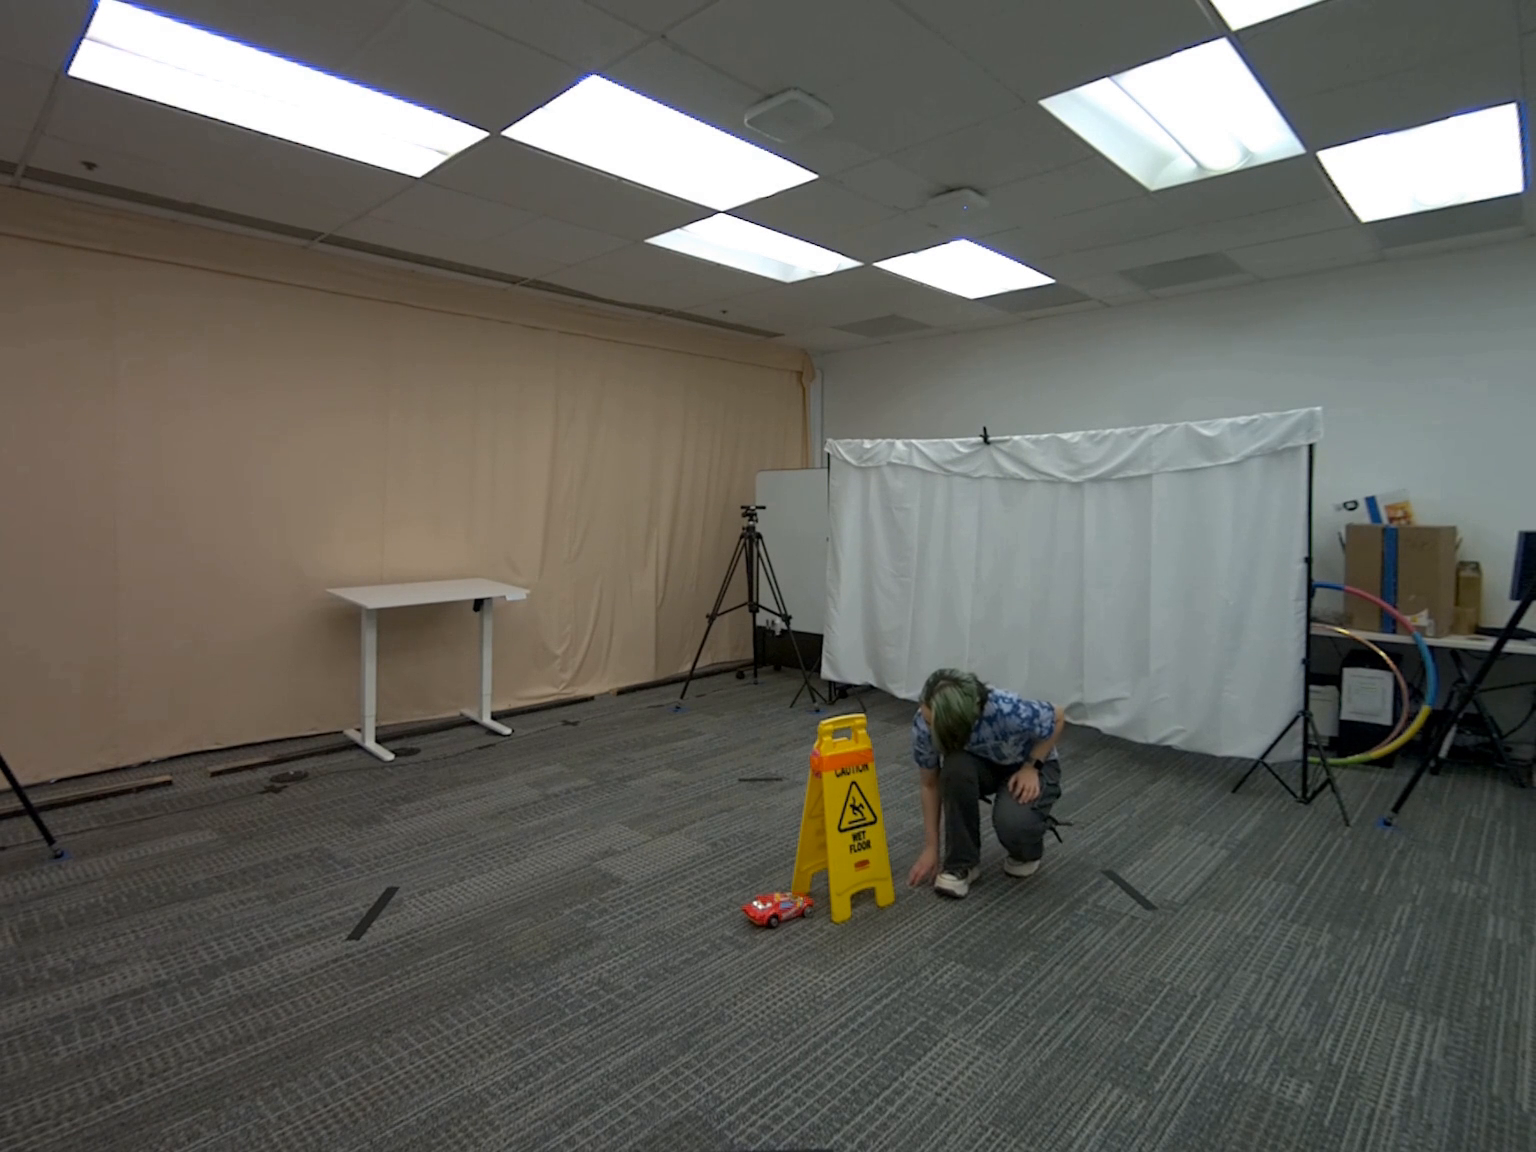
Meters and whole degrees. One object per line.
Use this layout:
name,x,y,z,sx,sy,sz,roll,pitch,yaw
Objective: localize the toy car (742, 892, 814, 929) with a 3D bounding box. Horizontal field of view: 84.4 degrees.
toy car,0.030,1.131,2.839,0.247,0.083,0.134,14,-5,-30
